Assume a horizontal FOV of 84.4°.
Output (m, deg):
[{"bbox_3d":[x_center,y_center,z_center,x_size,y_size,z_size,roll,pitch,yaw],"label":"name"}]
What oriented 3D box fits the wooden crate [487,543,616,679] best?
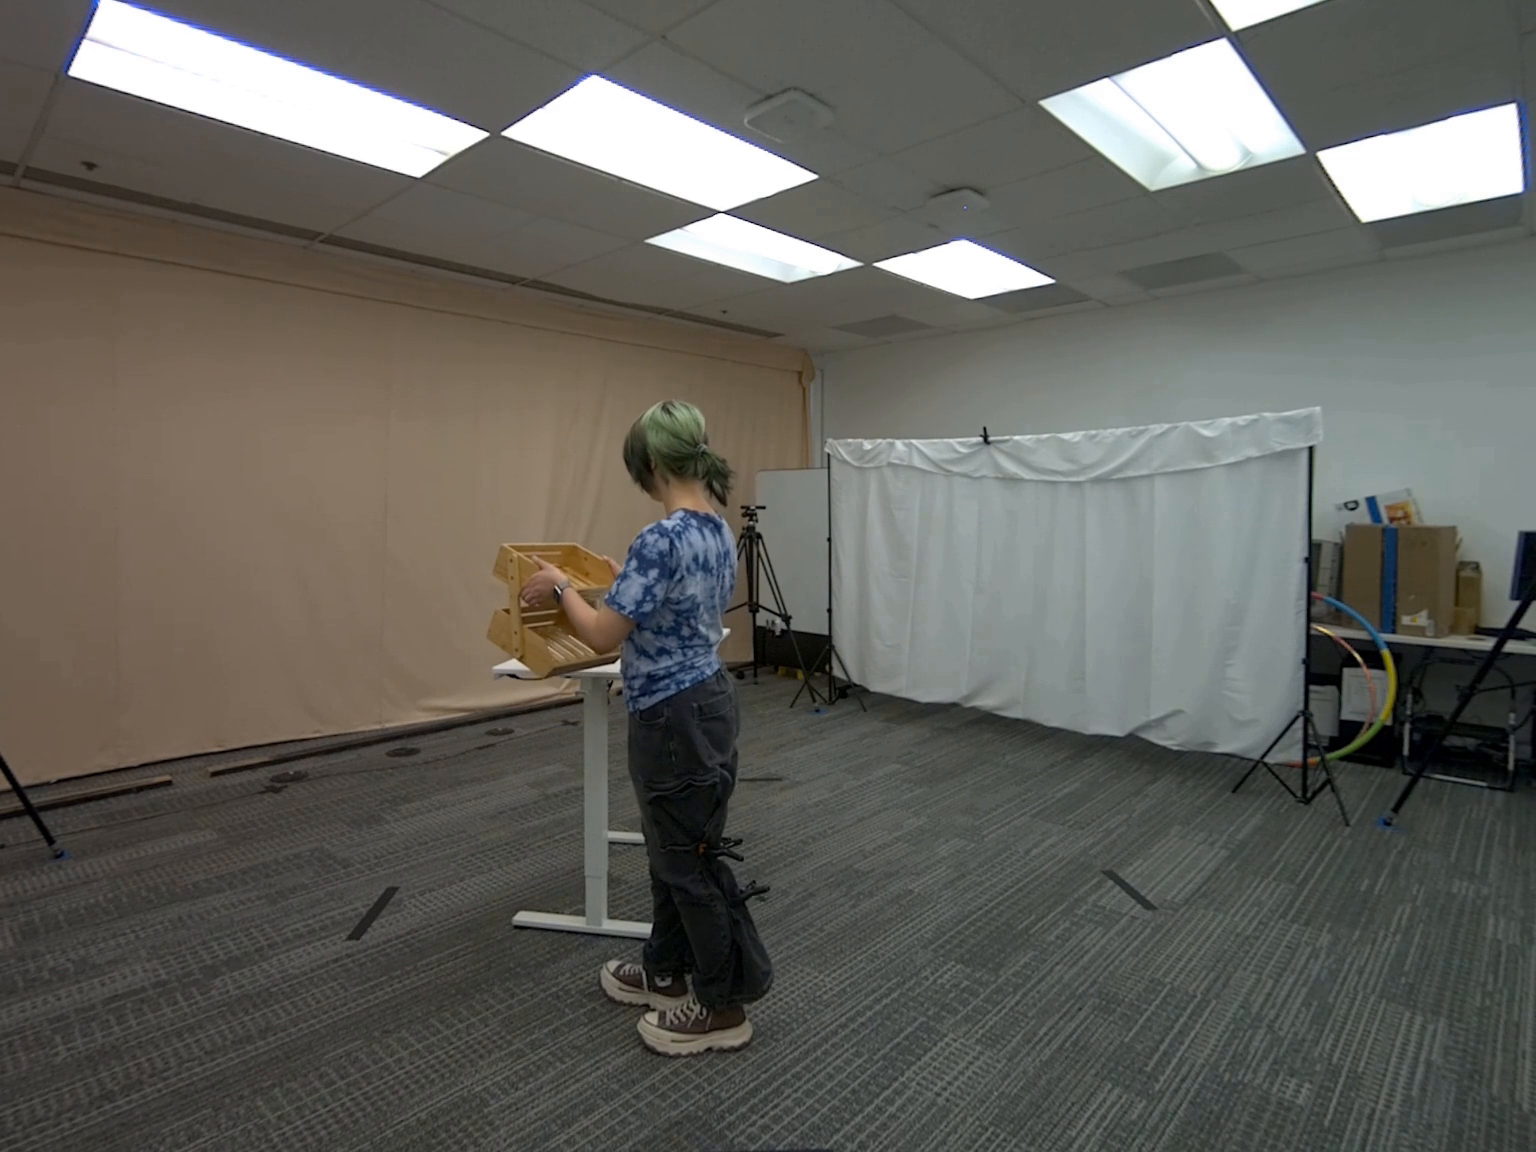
[{"bbox_3d":[-0.571,0.088,2.349,0.311,0.272,0.315,28,14,26],"label":"wooden crate"}]
